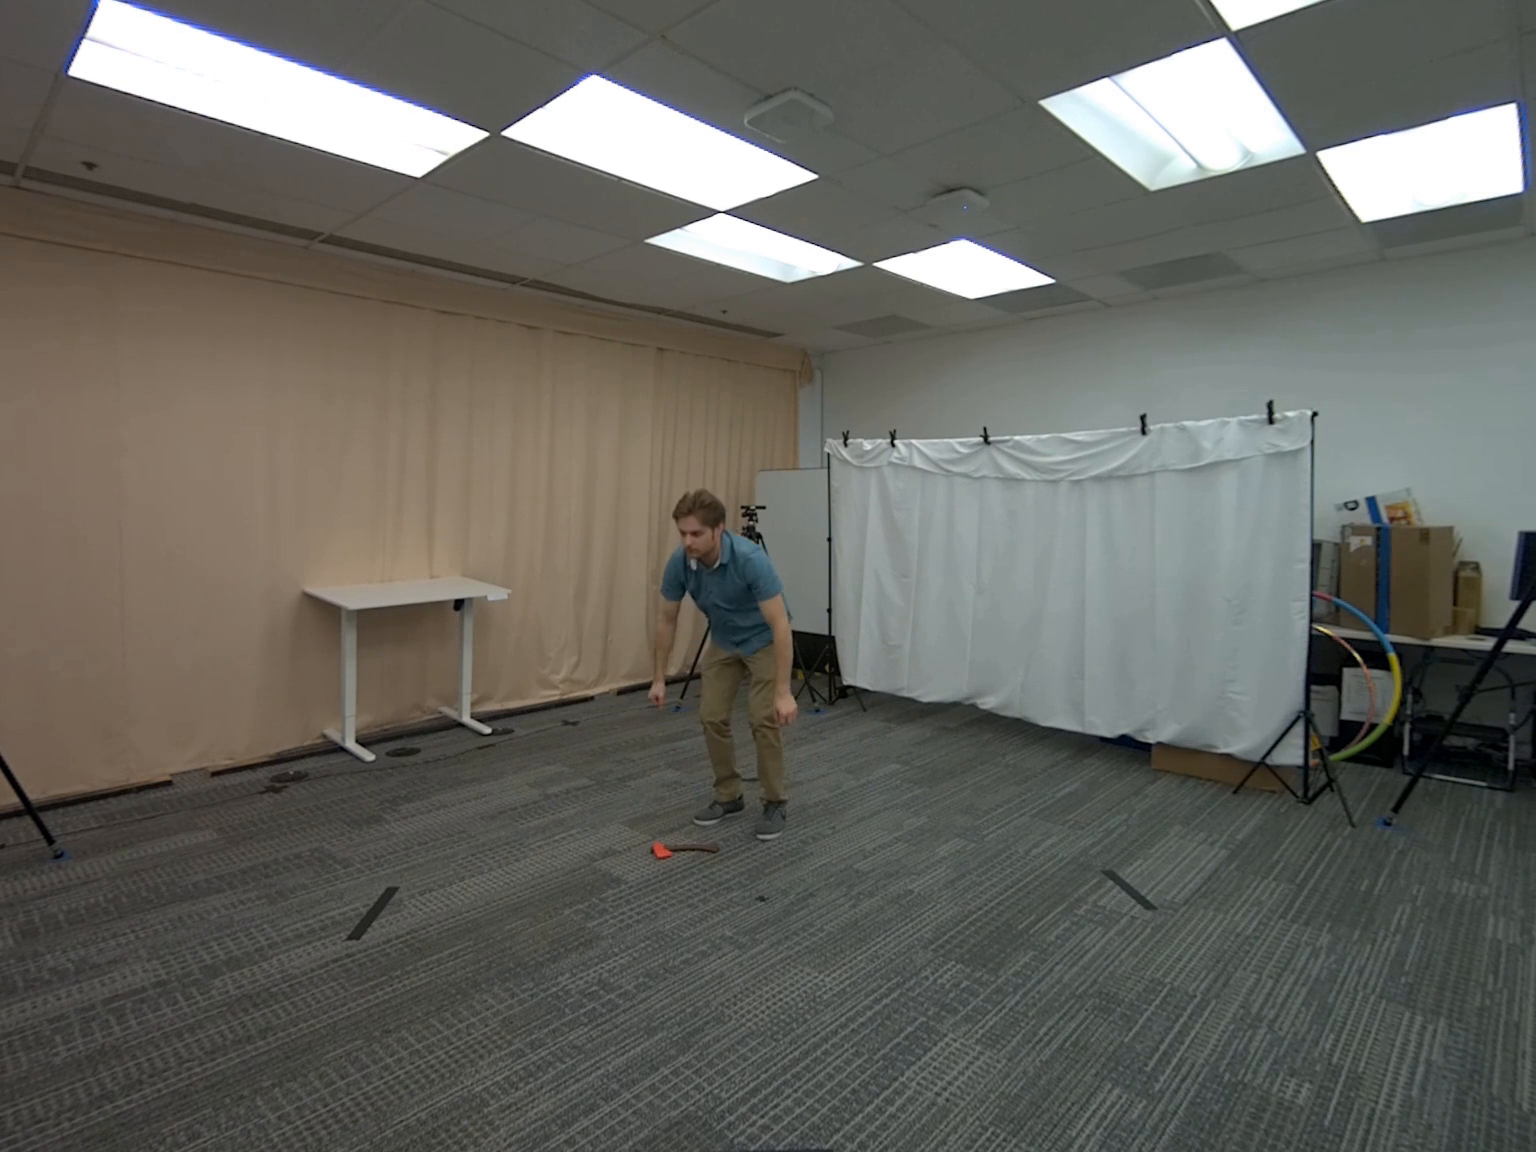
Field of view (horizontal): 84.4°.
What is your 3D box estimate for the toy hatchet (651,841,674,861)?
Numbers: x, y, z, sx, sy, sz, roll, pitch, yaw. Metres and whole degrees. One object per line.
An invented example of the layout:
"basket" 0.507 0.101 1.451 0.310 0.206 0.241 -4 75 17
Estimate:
"toy hatchet" -0.336 1.102 3.368 0.273 0.029 0.130 2 5 9
